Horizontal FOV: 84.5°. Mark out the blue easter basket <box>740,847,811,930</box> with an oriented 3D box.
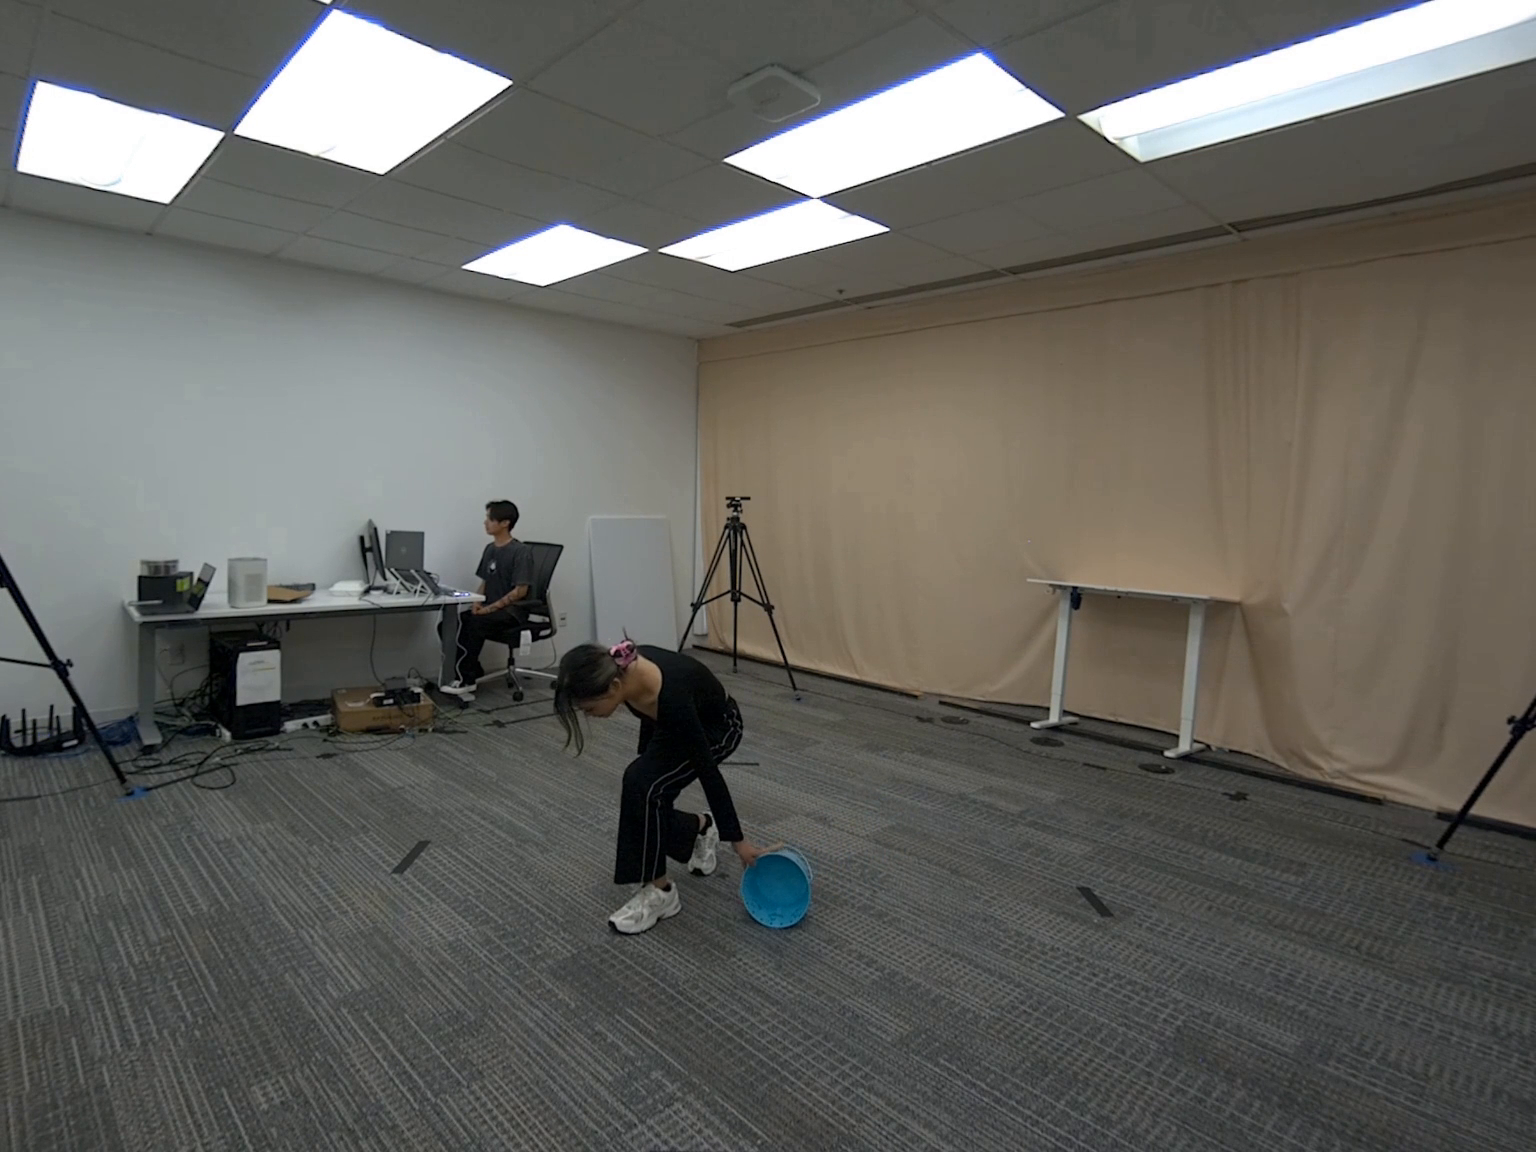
[{"bbox_3d":[0.028,1.025,2.804,0.246,0.244,0.154,2,-5,13],"label":"blue easter basket"}]
